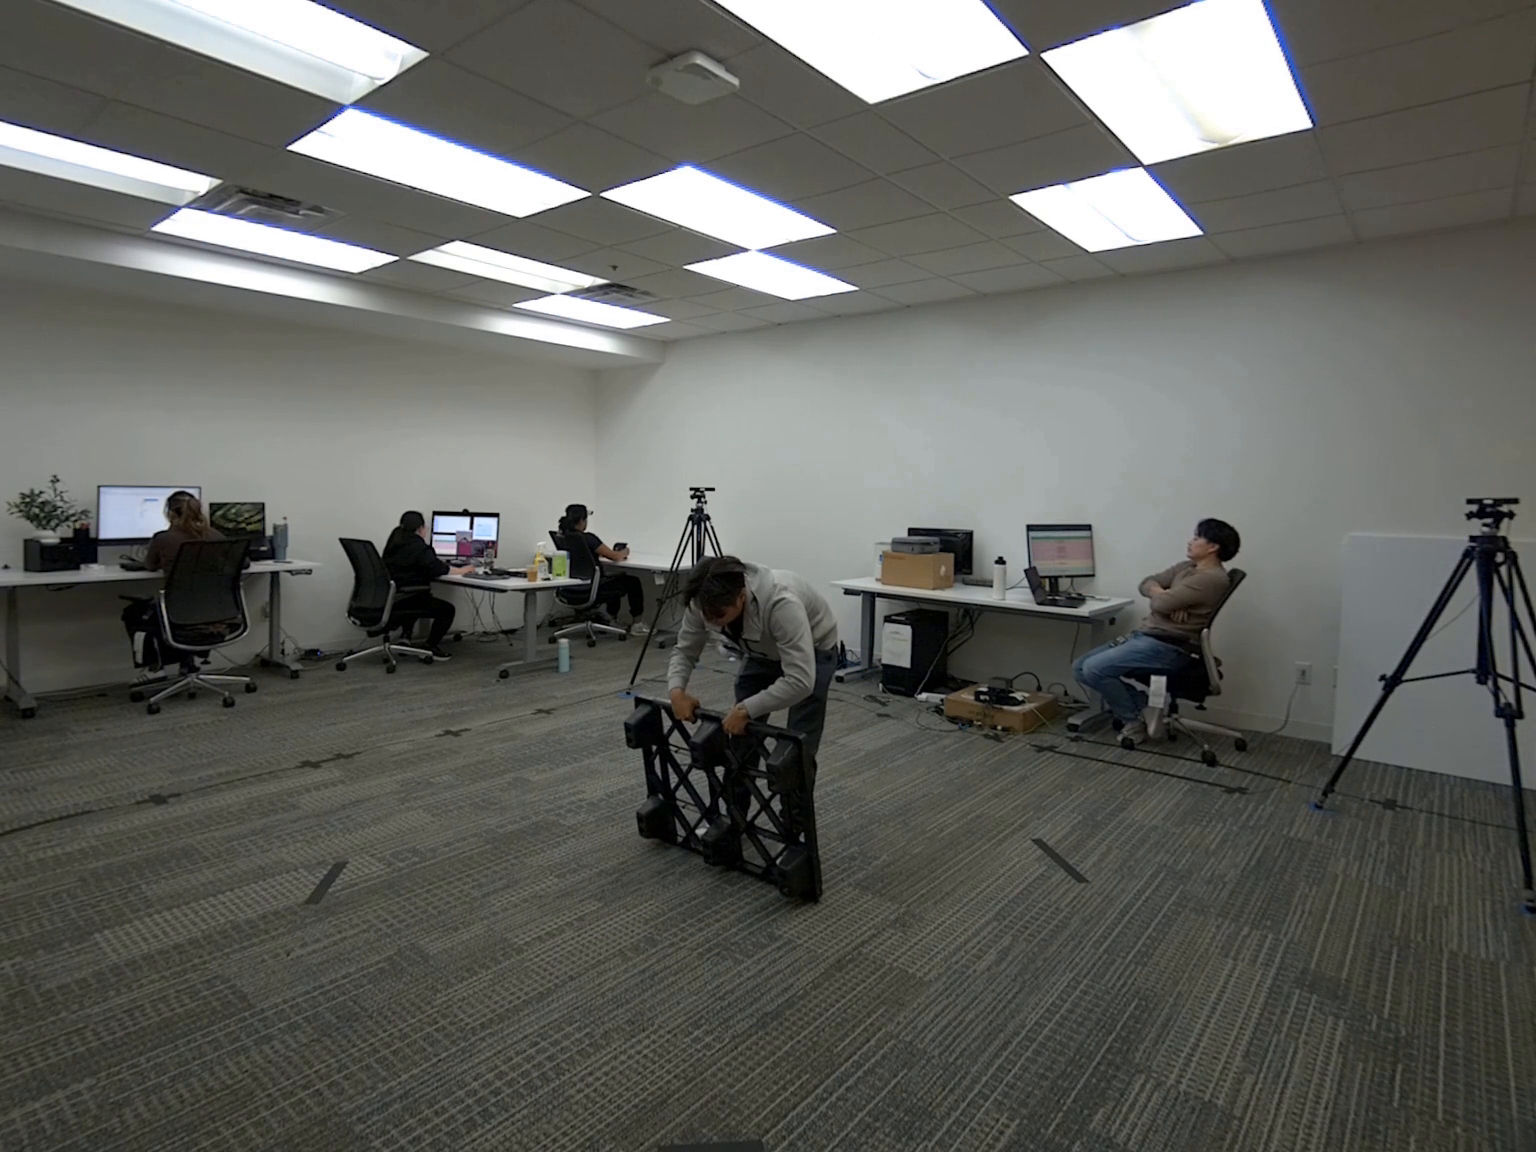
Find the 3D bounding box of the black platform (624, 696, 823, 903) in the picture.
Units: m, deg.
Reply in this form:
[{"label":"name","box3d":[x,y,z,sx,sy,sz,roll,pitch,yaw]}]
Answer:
[{"label":"black platform","box3d":[-0.204,0.783,3.044,0.833,0.599,0.140,4,14,41]}]
